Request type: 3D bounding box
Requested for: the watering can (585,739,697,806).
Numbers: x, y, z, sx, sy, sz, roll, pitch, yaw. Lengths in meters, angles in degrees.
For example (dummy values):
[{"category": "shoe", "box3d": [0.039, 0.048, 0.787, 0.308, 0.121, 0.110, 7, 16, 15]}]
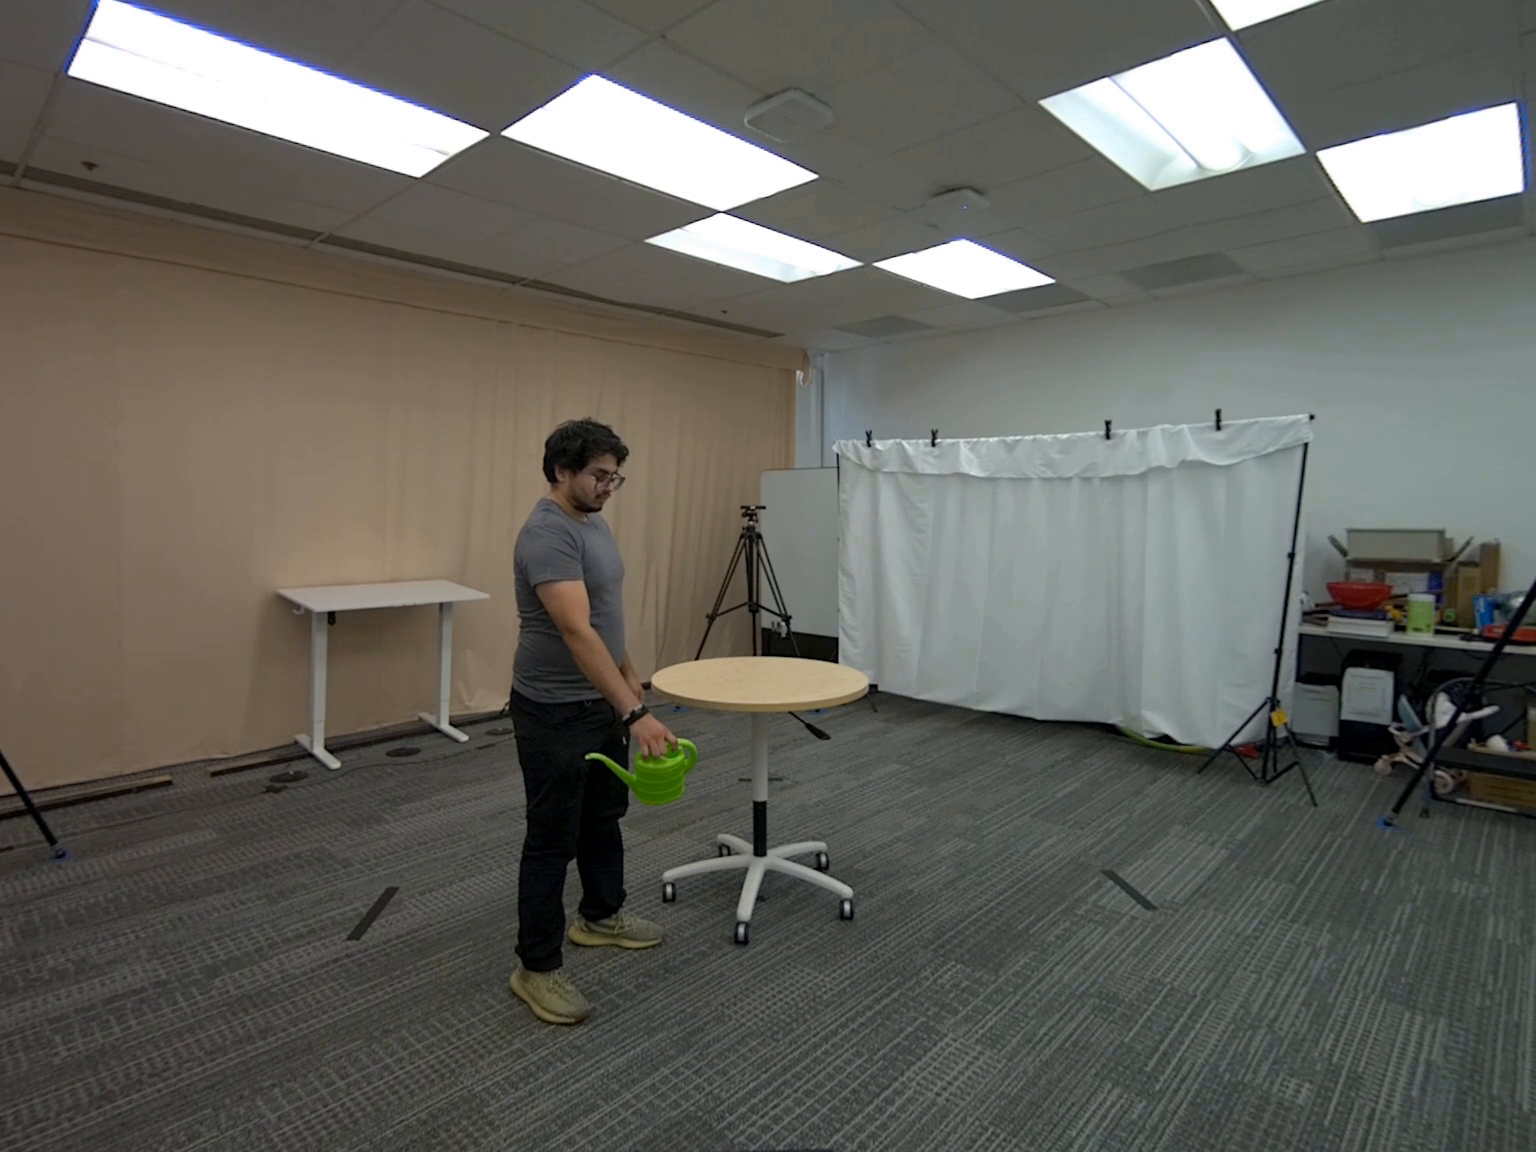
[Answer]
[{"category": "watering can", "box3d": [-0.322, 0.486, 2.127, 0.277, 0.174, 0.100, 3, 34, -3]}]
